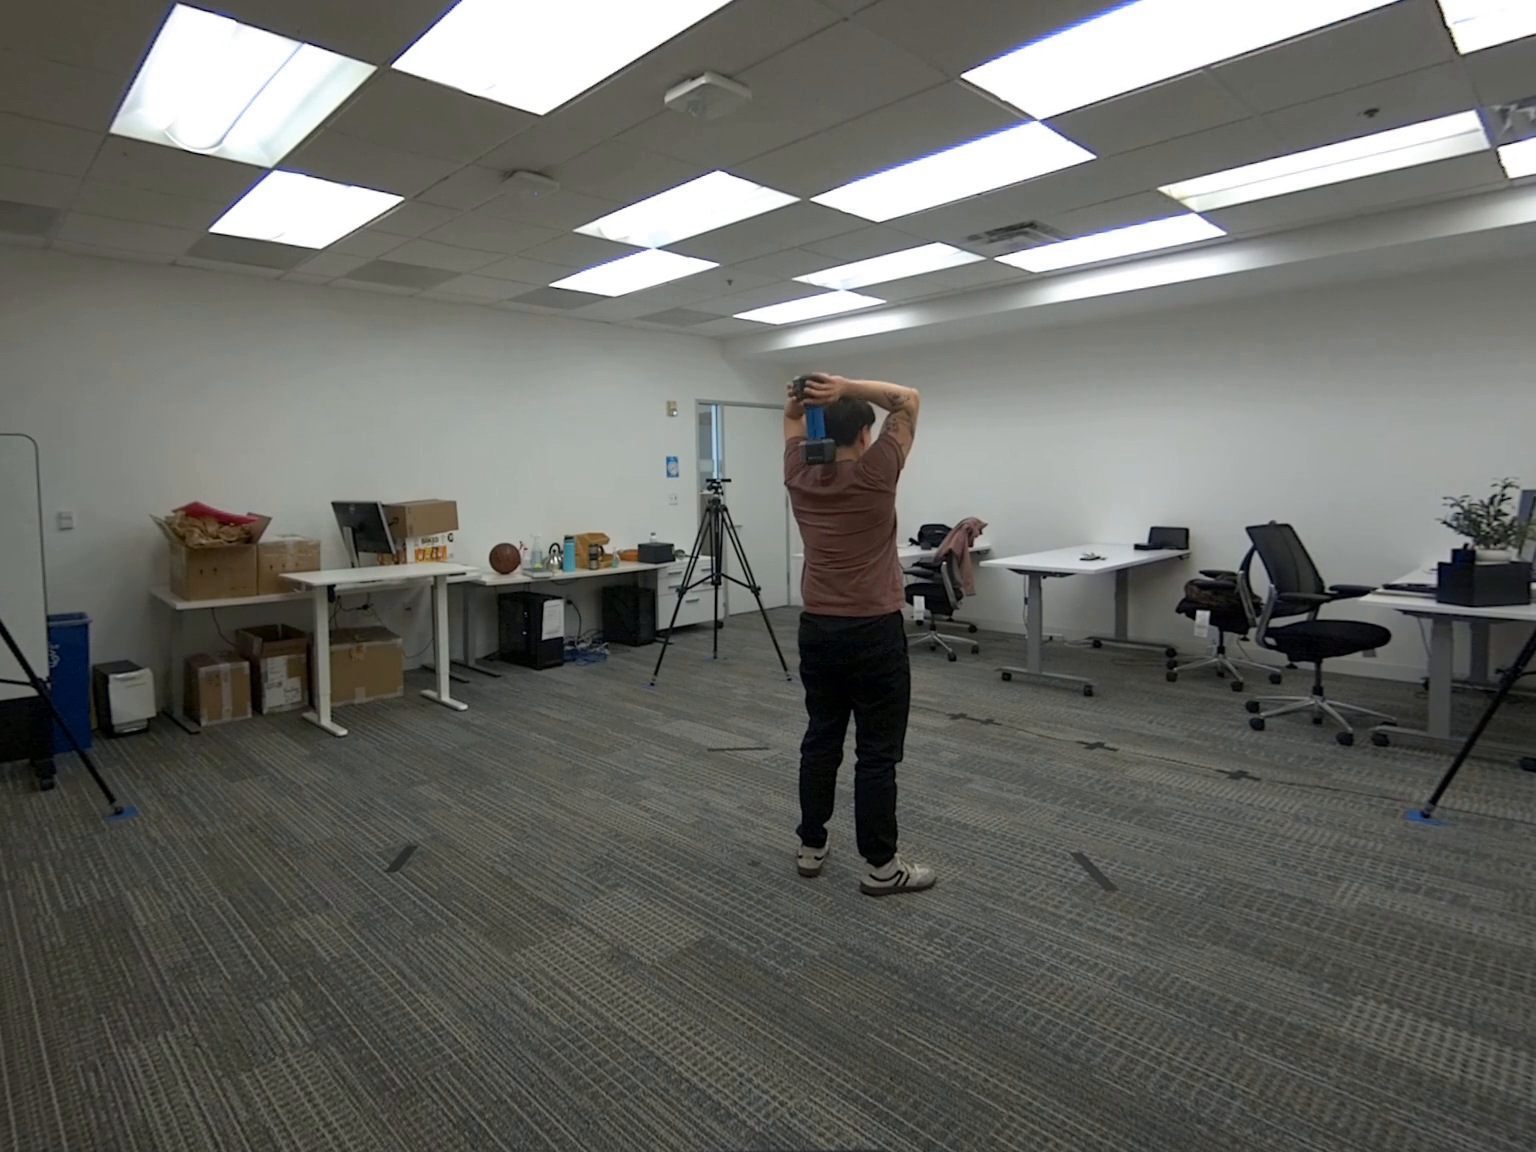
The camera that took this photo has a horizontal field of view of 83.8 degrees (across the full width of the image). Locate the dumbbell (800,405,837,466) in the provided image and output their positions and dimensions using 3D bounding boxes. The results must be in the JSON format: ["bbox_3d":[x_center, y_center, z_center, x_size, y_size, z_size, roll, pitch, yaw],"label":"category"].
[{"bbox_3d":[0.163,-0.515,2.796,0.120,0.292,0.112,-6,8,-42],"label":"dumbbell"}]
